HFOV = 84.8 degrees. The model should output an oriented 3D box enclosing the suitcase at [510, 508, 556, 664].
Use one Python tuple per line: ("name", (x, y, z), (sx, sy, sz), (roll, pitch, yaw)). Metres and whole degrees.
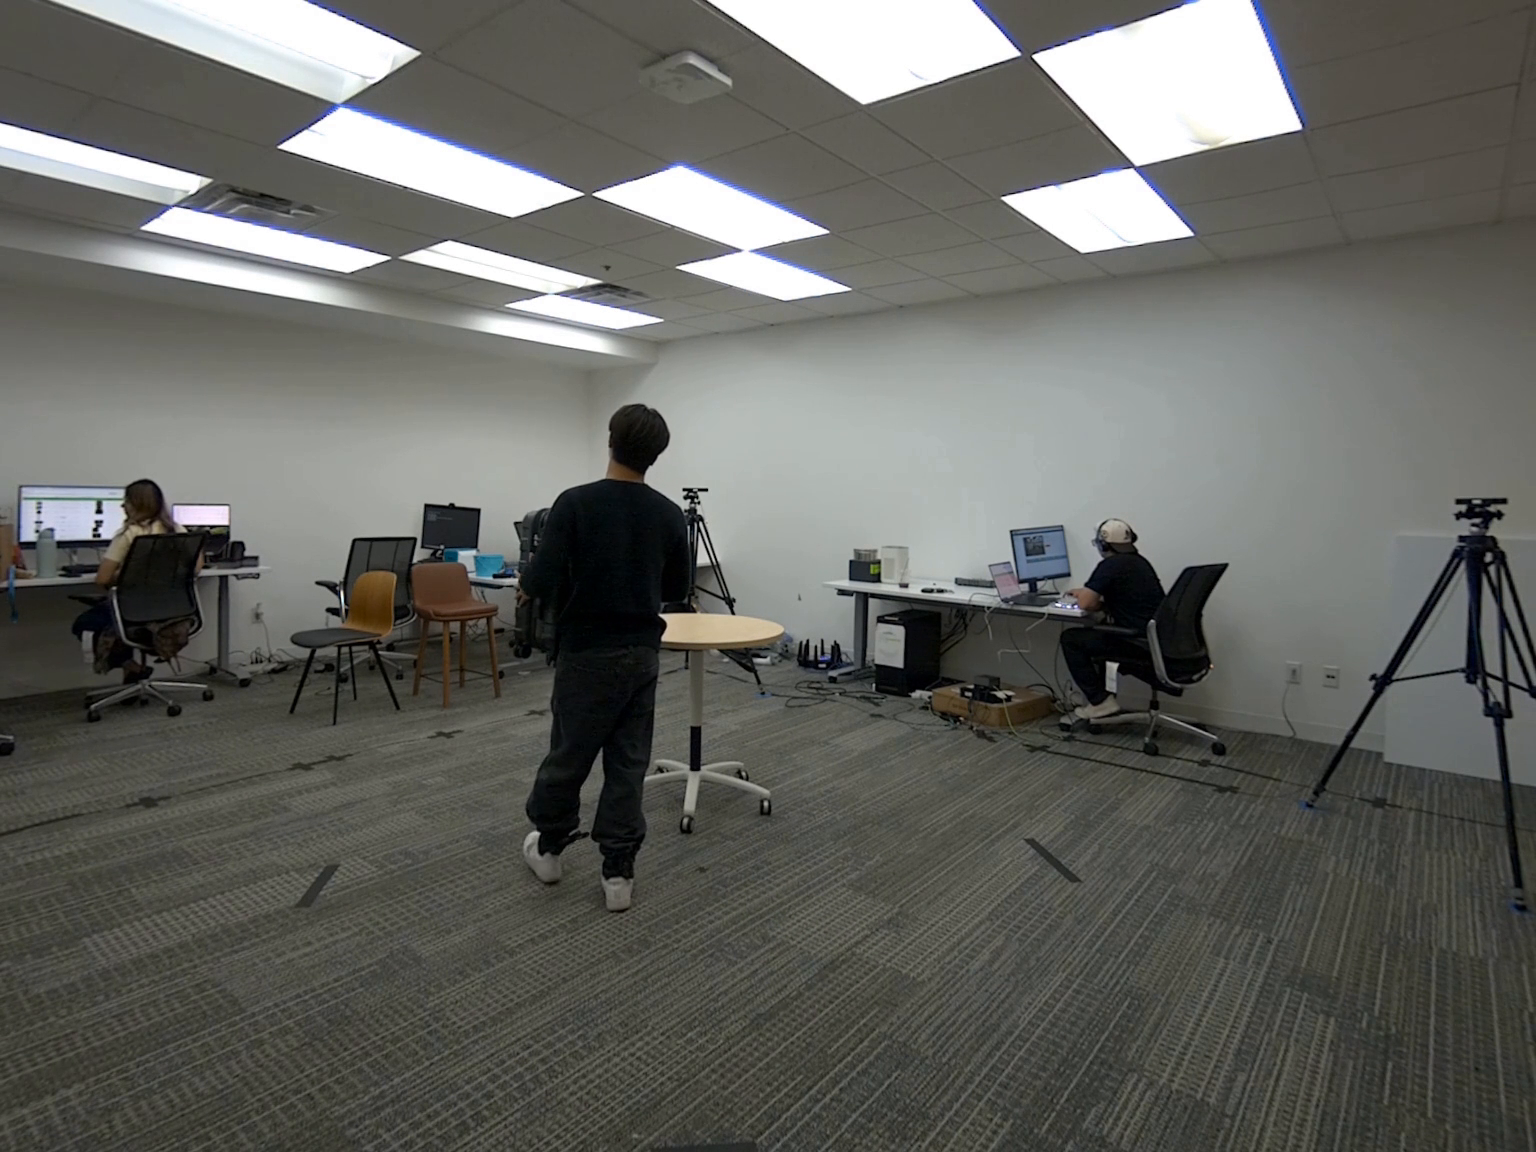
("suitcase", (-0.719, 0.022, 3.090), (0.256, 0.550, 0.363), (1, -1, 42))
